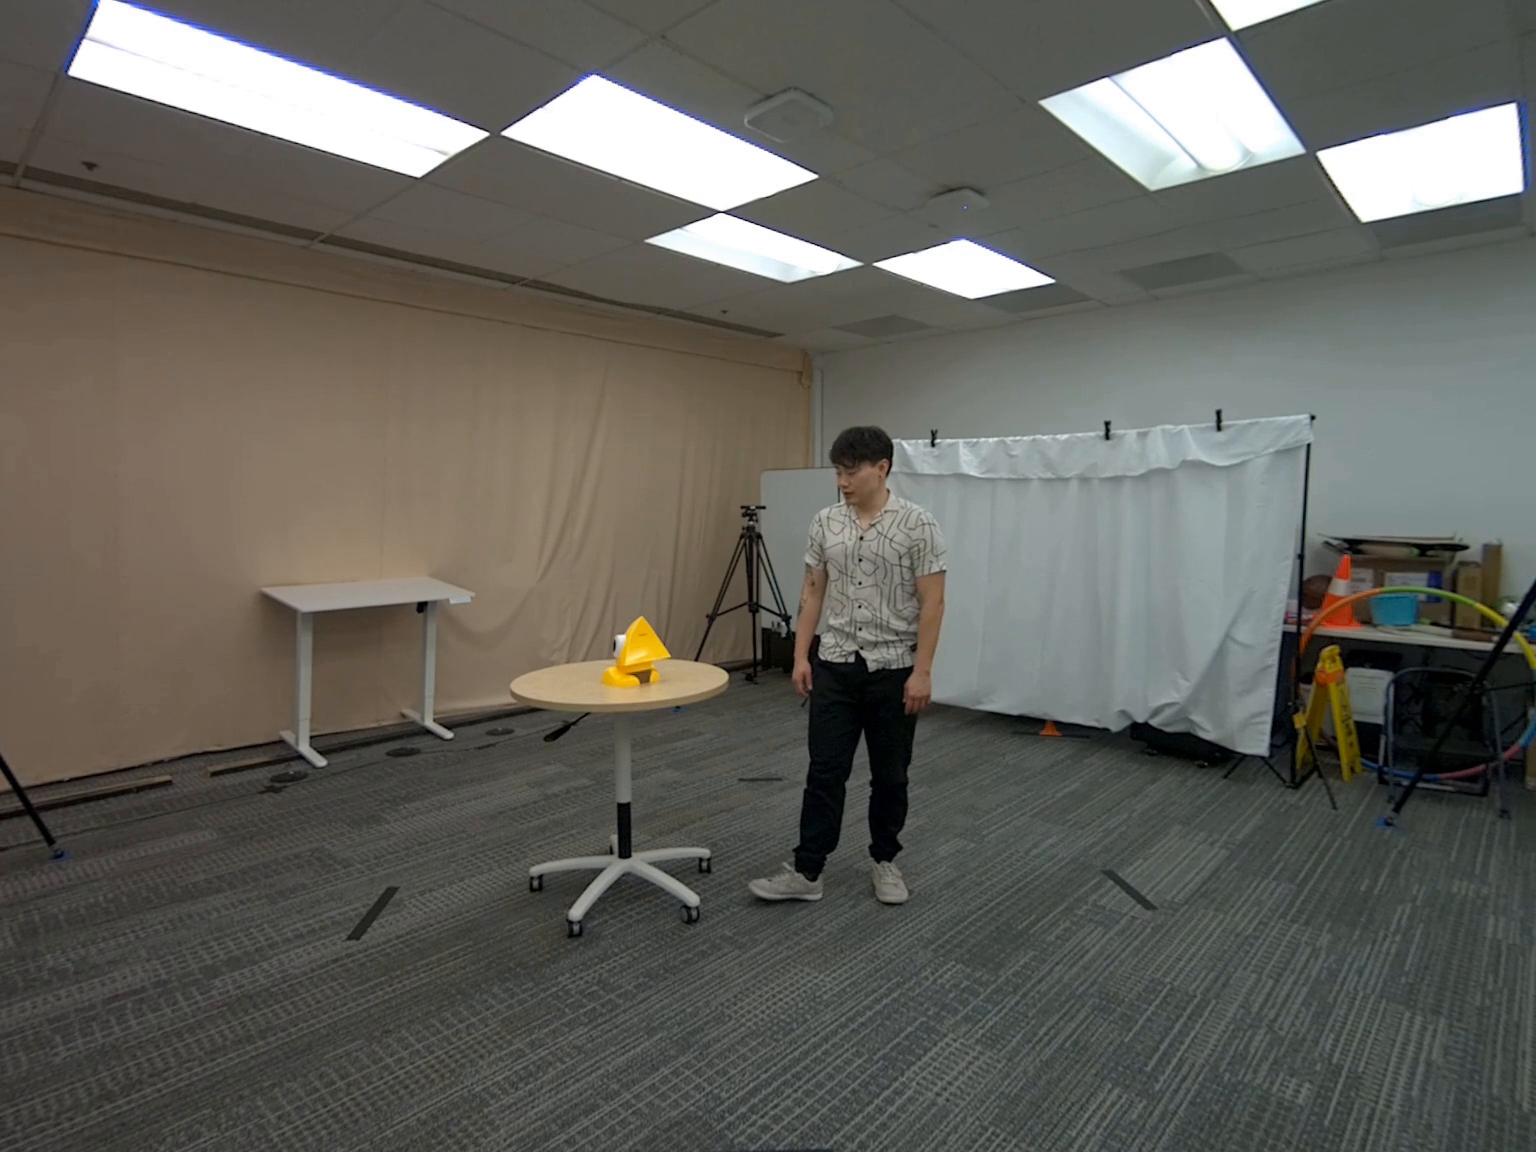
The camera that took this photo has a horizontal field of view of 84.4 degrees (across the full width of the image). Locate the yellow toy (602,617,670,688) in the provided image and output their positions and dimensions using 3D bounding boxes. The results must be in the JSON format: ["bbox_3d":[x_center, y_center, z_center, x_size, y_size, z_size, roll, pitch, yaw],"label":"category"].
[{"bbox_3d":[-0.475,0.256,2.944,0.199,0.230,0.198,2,4,44],"label":"yellow toy"}]
